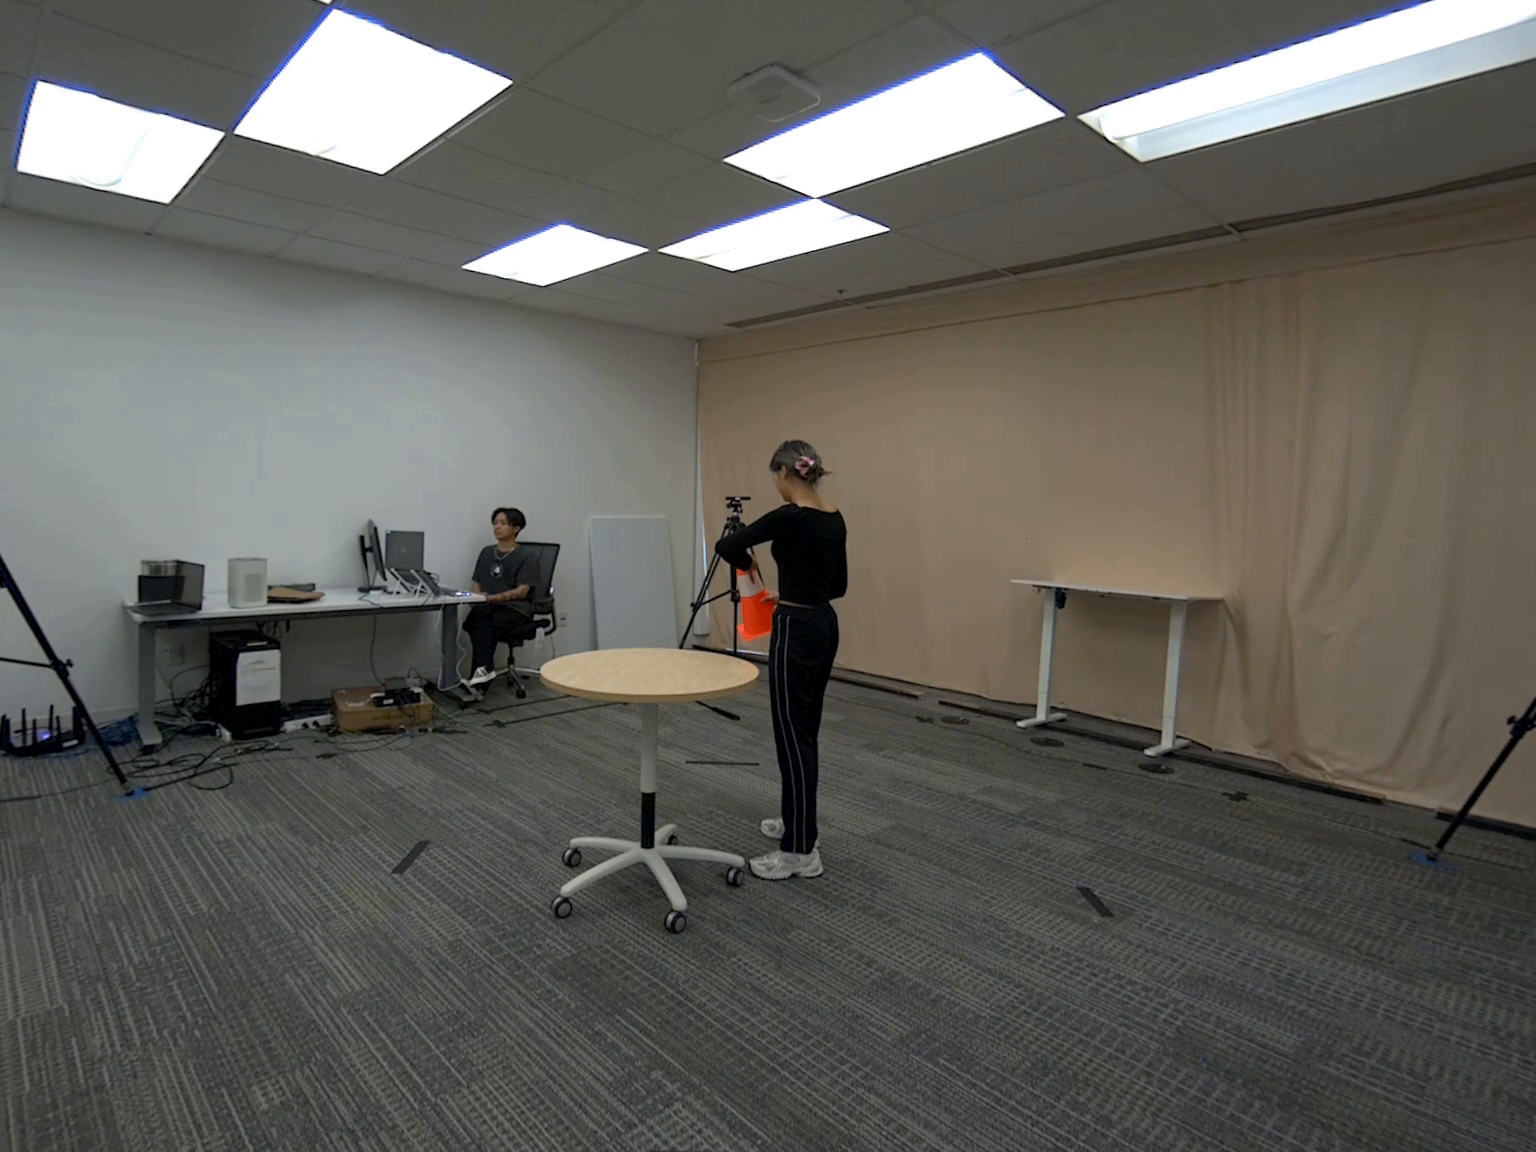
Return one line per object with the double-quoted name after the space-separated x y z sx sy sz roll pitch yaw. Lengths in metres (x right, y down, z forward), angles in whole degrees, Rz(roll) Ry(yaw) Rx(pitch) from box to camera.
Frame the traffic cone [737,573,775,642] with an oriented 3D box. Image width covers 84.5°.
-0.081 0.050 3.571 0.203 0.379 0.208 -16 14 -2 "traffic cone"
